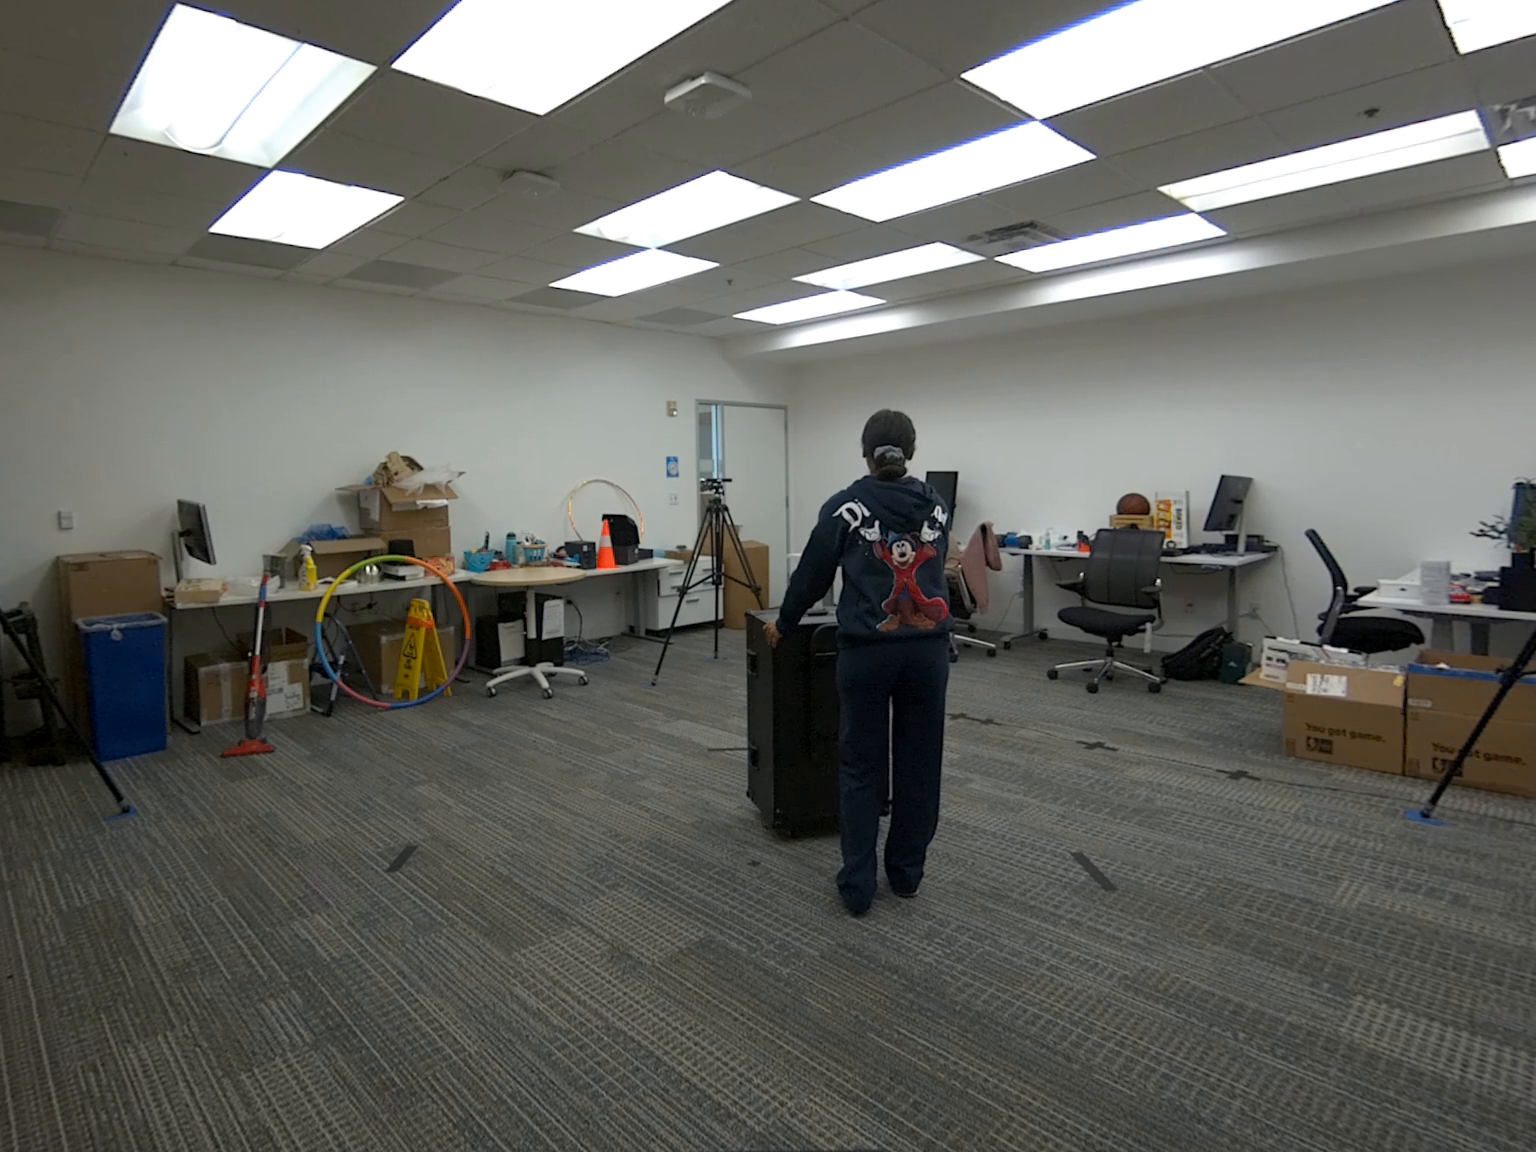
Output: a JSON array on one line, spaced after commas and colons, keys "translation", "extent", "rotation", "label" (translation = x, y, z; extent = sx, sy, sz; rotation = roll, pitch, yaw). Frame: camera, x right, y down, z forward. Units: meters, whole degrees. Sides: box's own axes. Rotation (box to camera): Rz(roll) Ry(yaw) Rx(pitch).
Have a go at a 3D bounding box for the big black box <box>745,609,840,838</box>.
[{"translation": [0.199, 0.580, 3.431], "extent": [0.514, 0.857, 0.404], "rotation": [-1, 6, -16], "label": "big black box"}]
